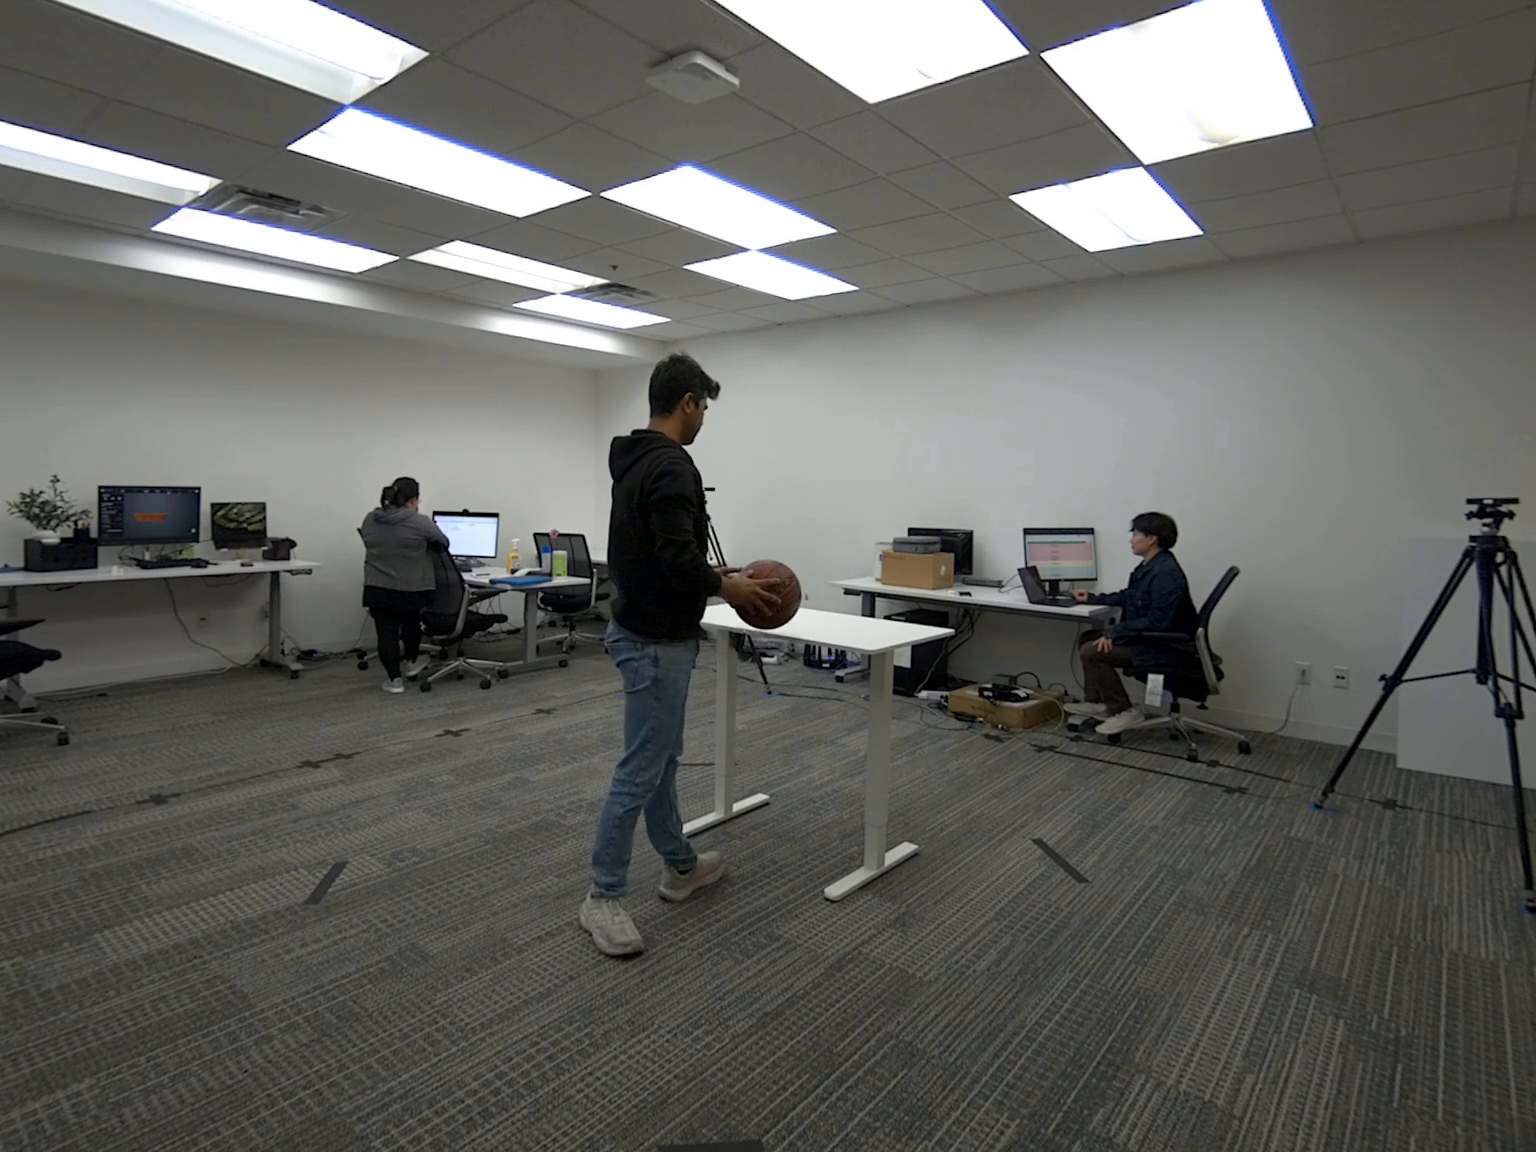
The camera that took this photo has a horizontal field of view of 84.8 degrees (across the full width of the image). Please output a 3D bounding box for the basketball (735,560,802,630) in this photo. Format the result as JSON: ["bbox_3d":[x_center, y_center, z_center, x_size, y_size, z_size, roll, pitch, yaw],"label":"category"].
[{"bbox_3d":[-0.021,0.071,2.869,0.235,0.235,0.237,1,4,-2],"label":"basketball"}]
